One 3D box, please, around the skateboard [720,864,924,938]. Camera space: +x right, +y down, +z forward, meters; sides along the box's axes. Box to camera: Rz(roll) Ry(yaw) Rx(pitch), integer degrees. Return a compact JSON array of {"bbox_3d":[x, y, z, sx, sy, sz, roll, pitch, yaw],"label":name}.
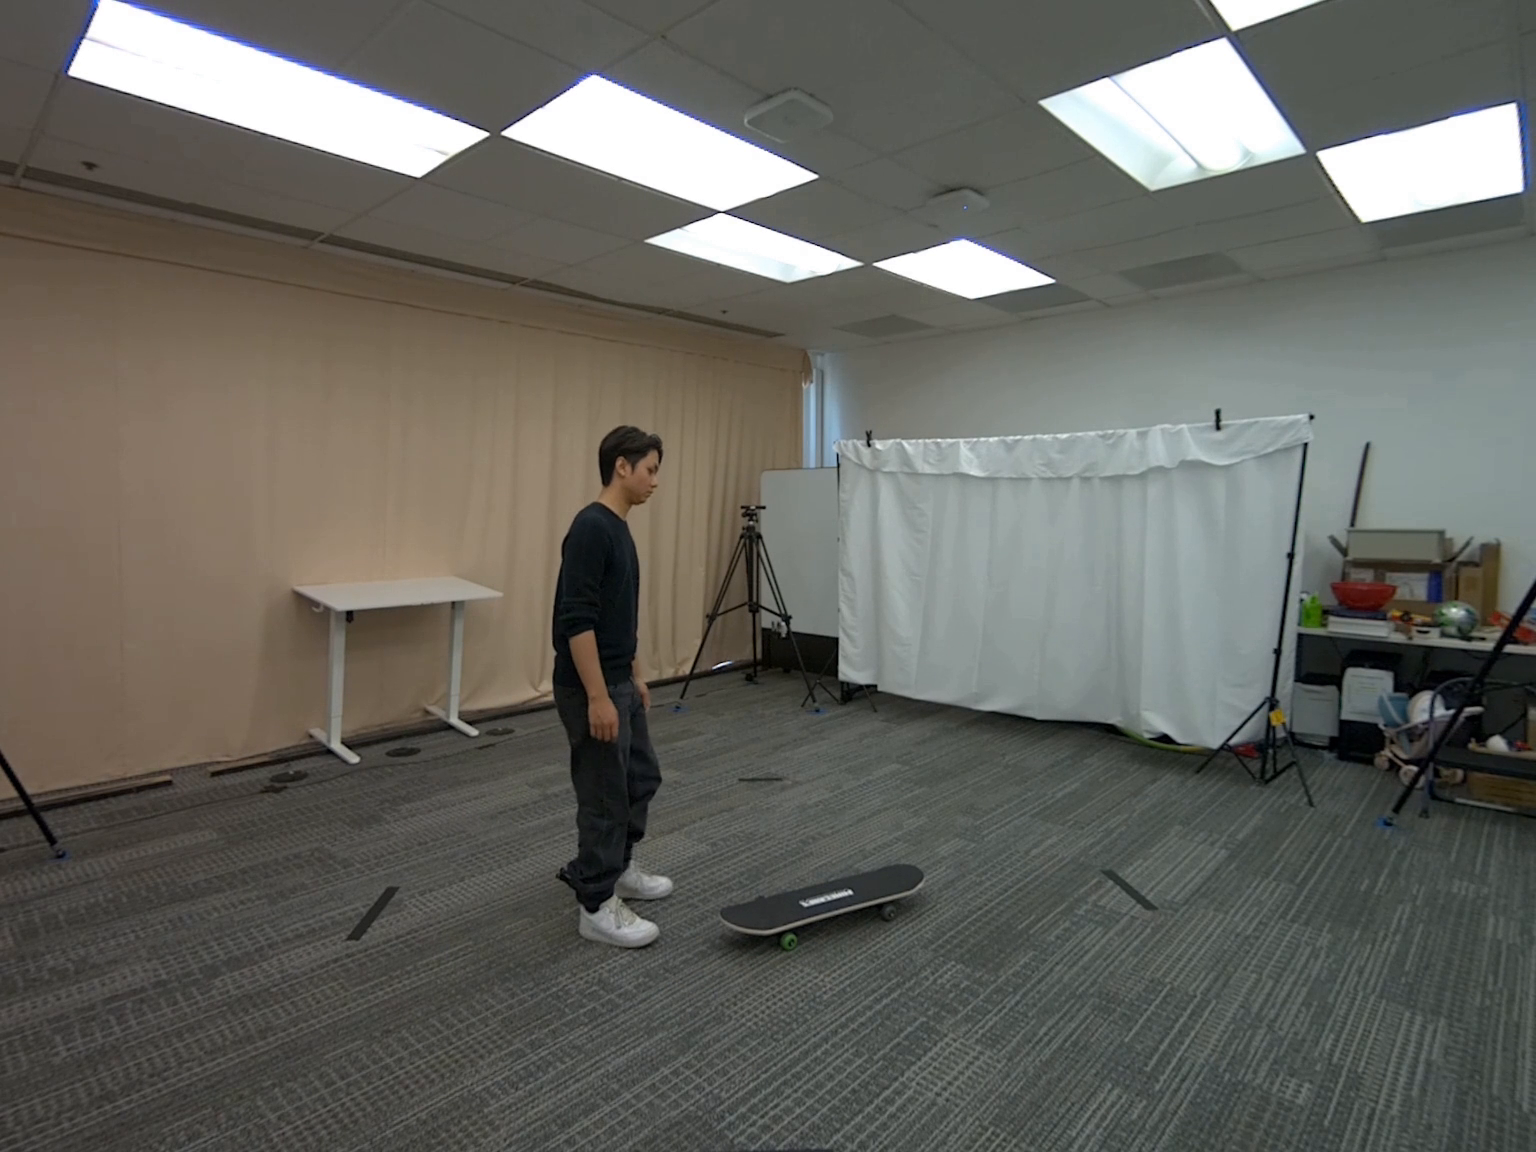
[{"bbox_3d":[0.197,1.105,2.795,0.765,0.110,0.199,-2,6,-28],"label":"skateboard"}]
